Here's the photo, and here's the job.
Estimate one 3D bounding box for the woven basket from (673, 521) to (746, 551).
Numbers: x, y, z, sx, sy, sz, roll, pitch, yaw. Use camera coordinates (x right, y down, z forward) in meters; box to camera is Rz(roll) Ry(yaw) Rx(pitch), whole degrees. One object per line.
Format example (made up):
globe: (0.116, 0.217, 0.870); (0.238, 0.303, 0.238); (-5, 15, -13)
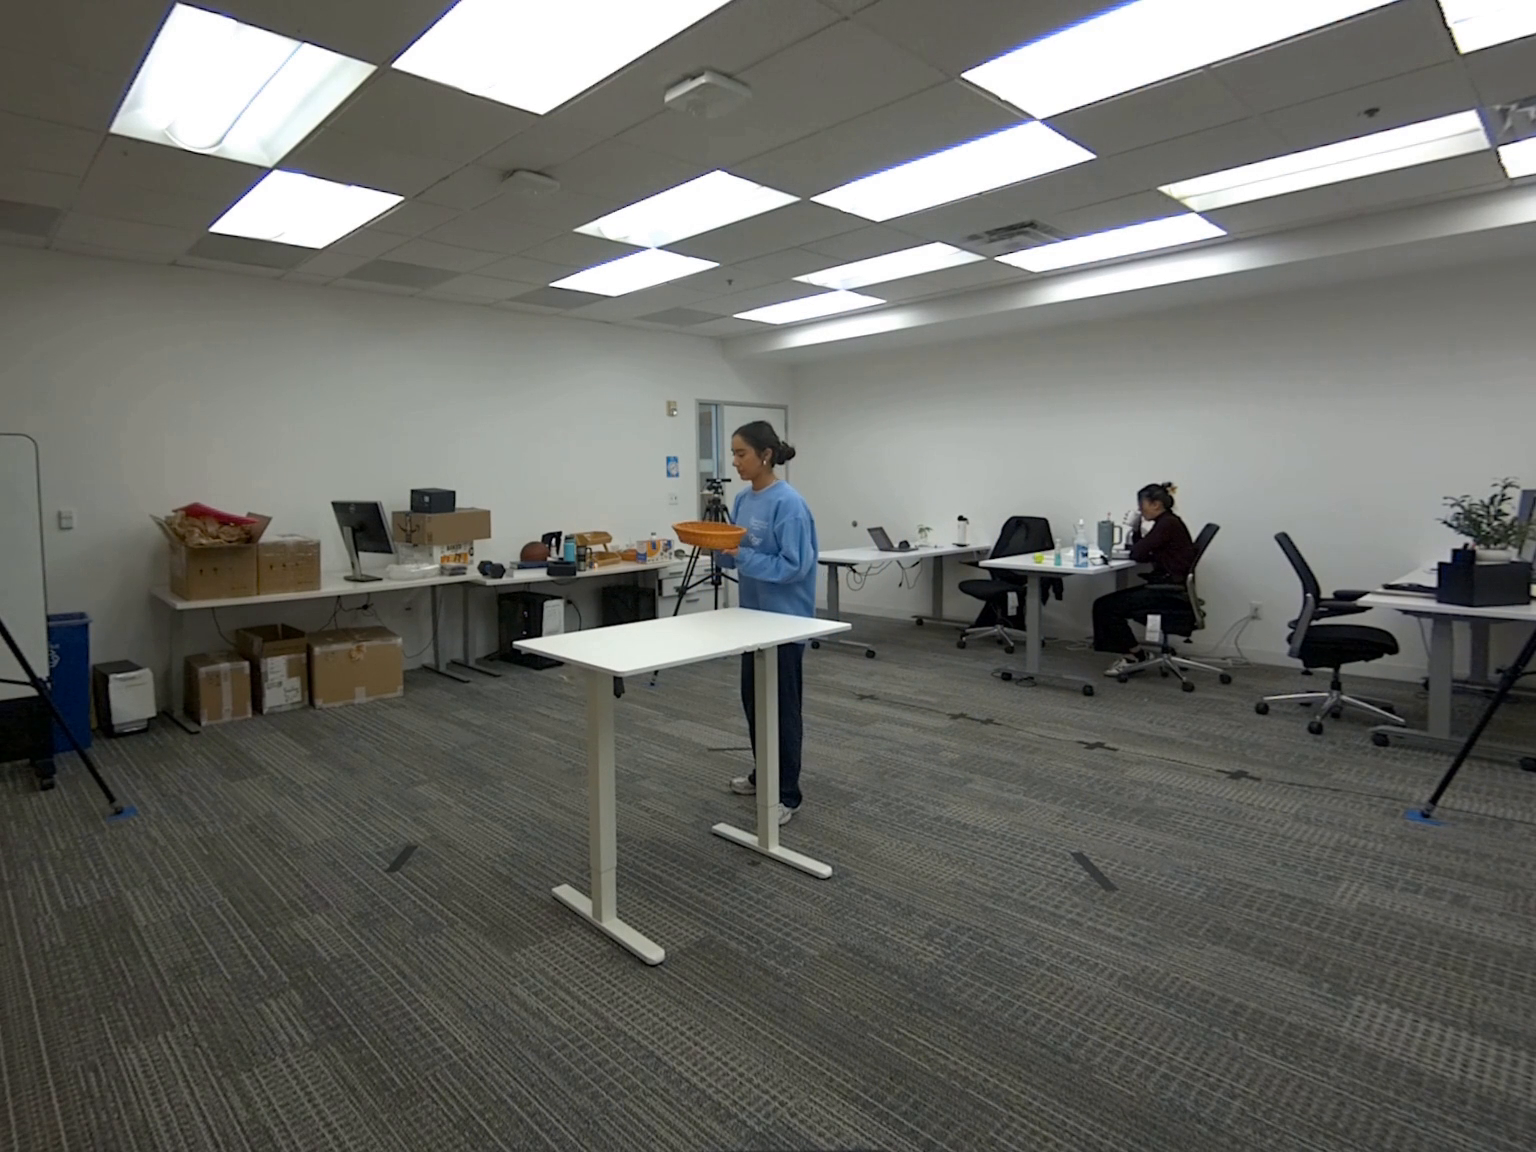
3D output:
woven basket: (-0.231, -0.170, 3.488); (0.246, 0.073, 0.362); (-5, 13, -32)
